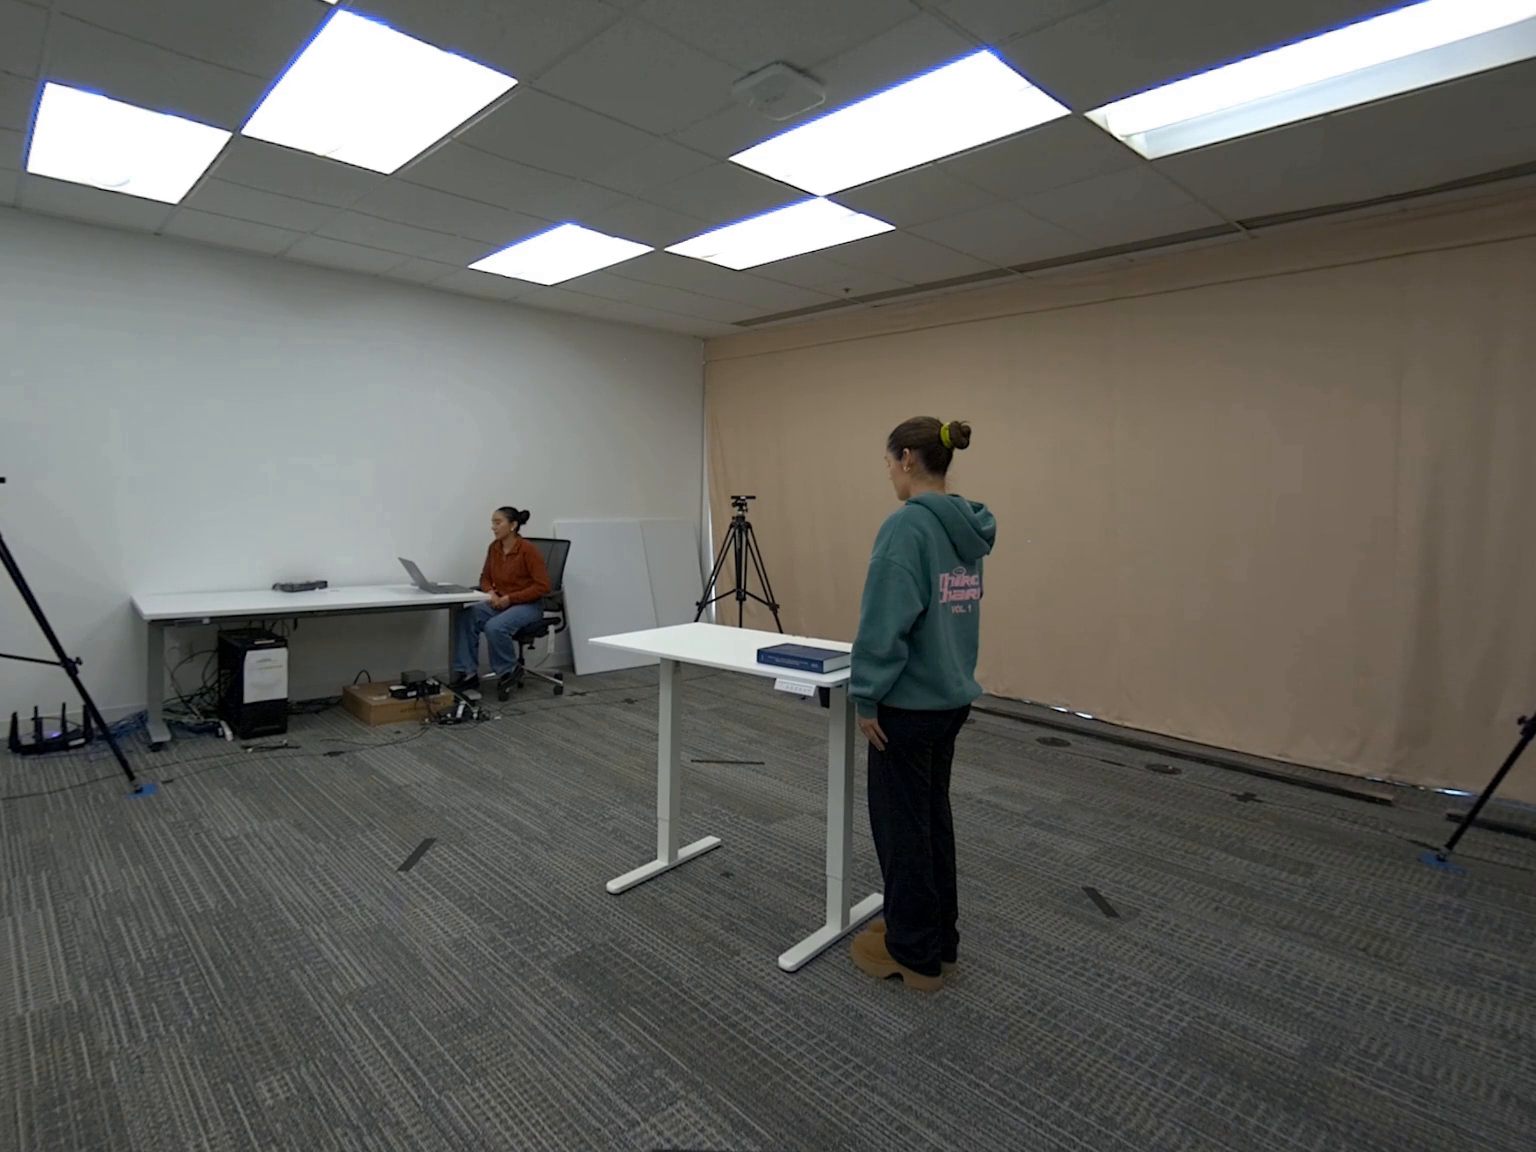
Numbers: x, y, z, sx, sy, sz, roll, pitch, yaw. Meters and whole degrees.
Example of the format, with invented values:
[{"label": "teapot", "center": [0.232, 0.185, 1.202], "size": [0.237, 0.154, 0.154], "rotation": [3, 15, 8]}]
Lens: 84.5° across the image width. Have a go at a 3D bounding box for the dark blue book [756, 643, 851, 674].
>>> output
[{"label": "dark blue book", "center": [0.096, 0.250, 2.584], "size": [0.251, 0.045, 0.160], "rotation": [5, 7, 37]}]
